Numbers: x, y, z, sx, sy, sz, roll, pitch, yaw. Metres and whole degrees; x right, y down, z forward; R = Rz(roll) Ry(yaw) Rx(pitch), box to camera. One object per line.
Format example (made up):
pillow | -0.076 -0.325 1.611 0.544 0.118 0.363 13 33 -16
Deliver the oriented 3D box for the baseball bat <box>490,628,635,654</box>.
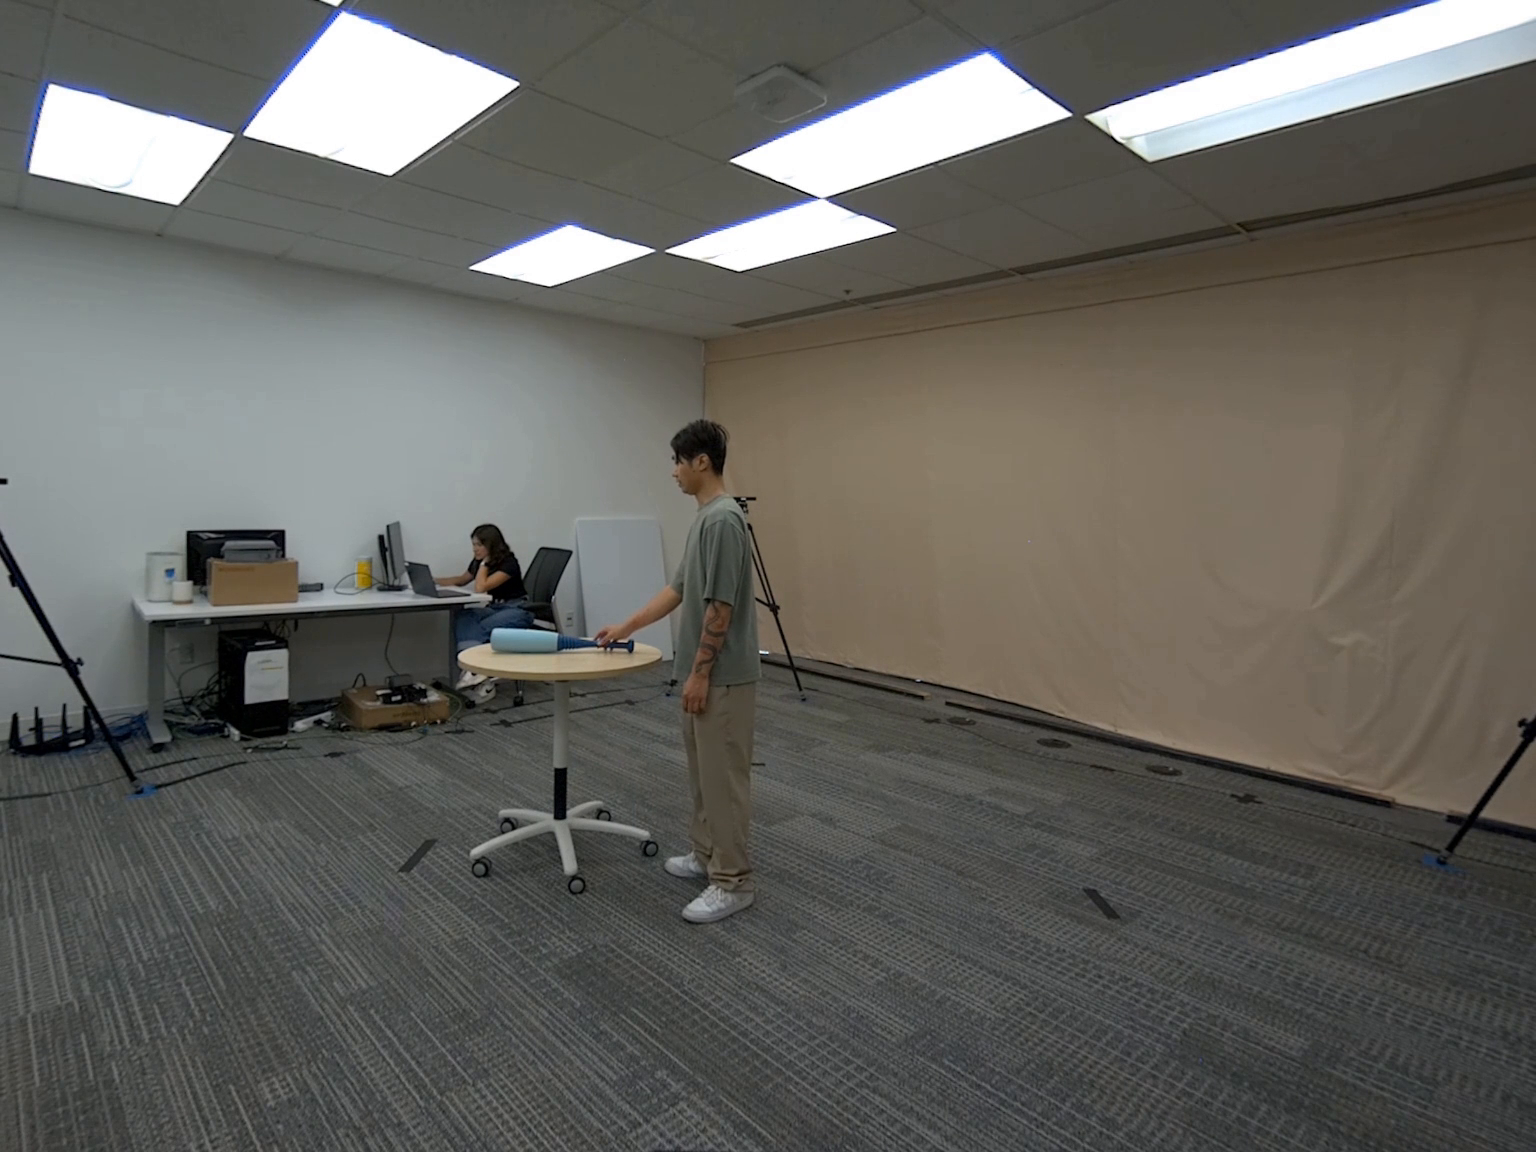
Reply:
baseball bat | -0.795 0.258 3.242 0.539 0.089 0.090 4 4 -8
